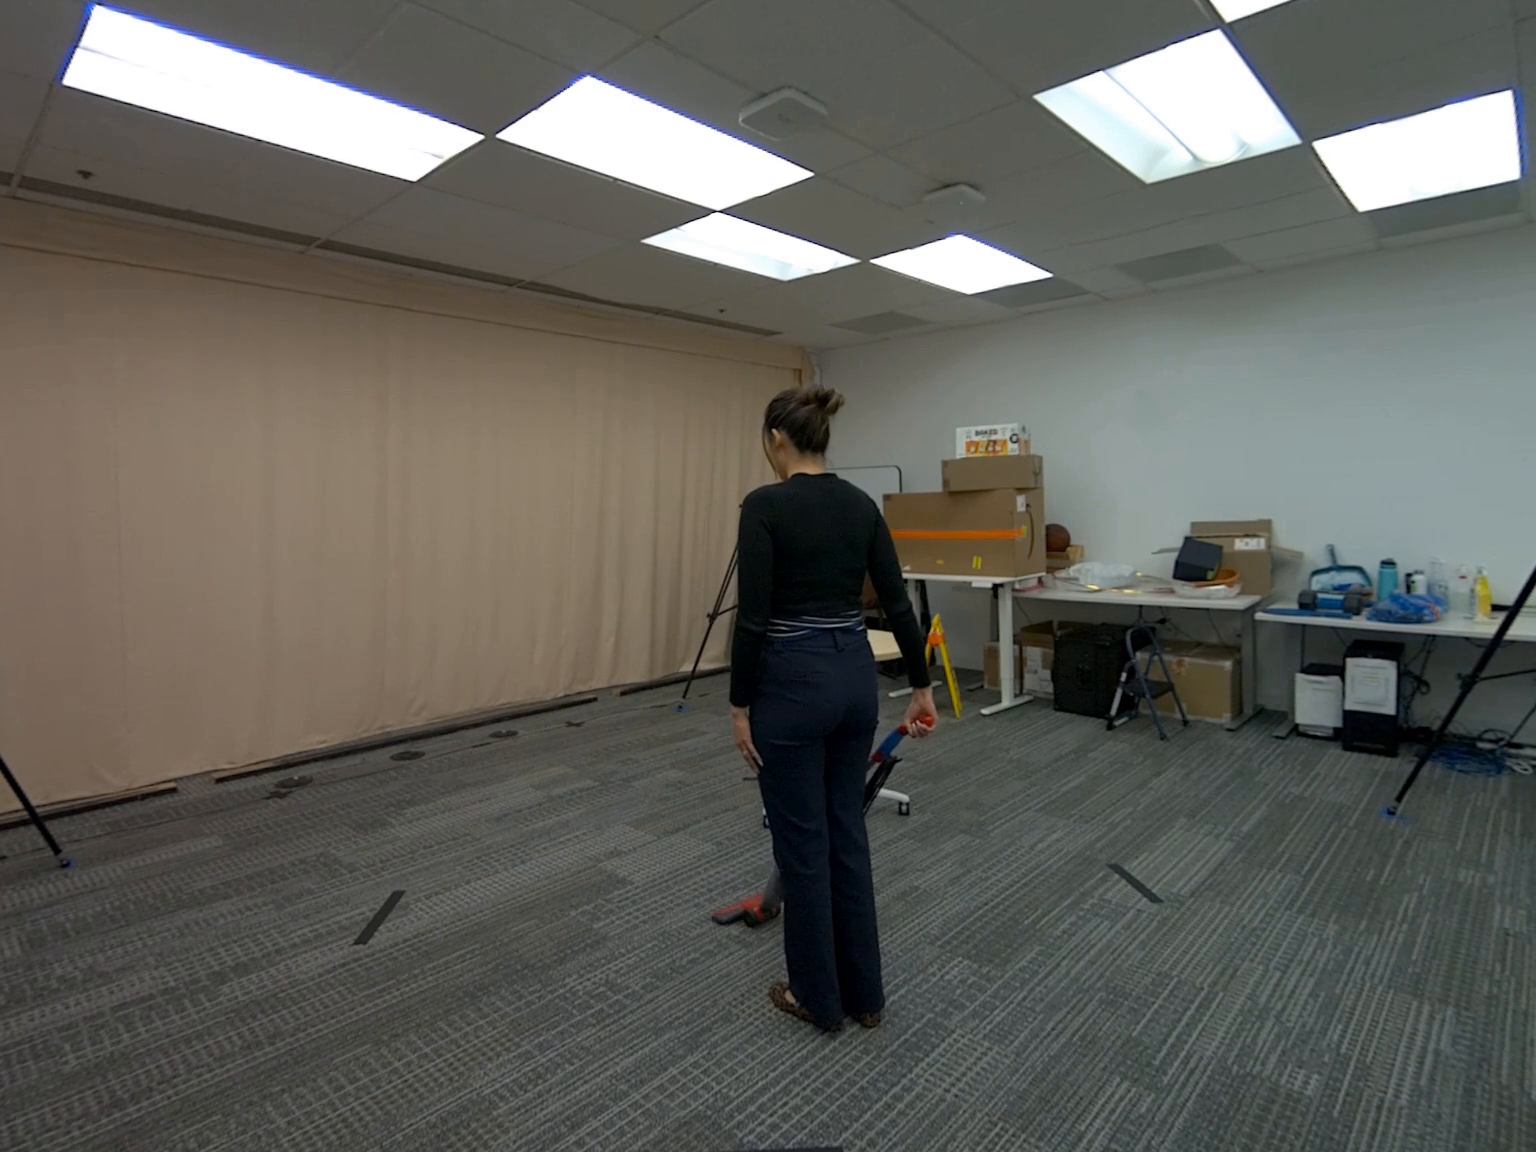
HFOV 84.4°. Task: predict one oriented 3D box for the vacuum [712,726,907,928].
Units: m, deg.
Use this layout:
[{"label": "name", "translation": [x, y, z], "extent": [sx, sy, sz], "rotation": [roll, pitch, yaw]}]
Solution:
[{"label": "vacuum", "translation": [0.173, 0.779, 2.593], "extent": [0.245, 1.051, 0.148], "rotation": [-9, 52, -48]}]
